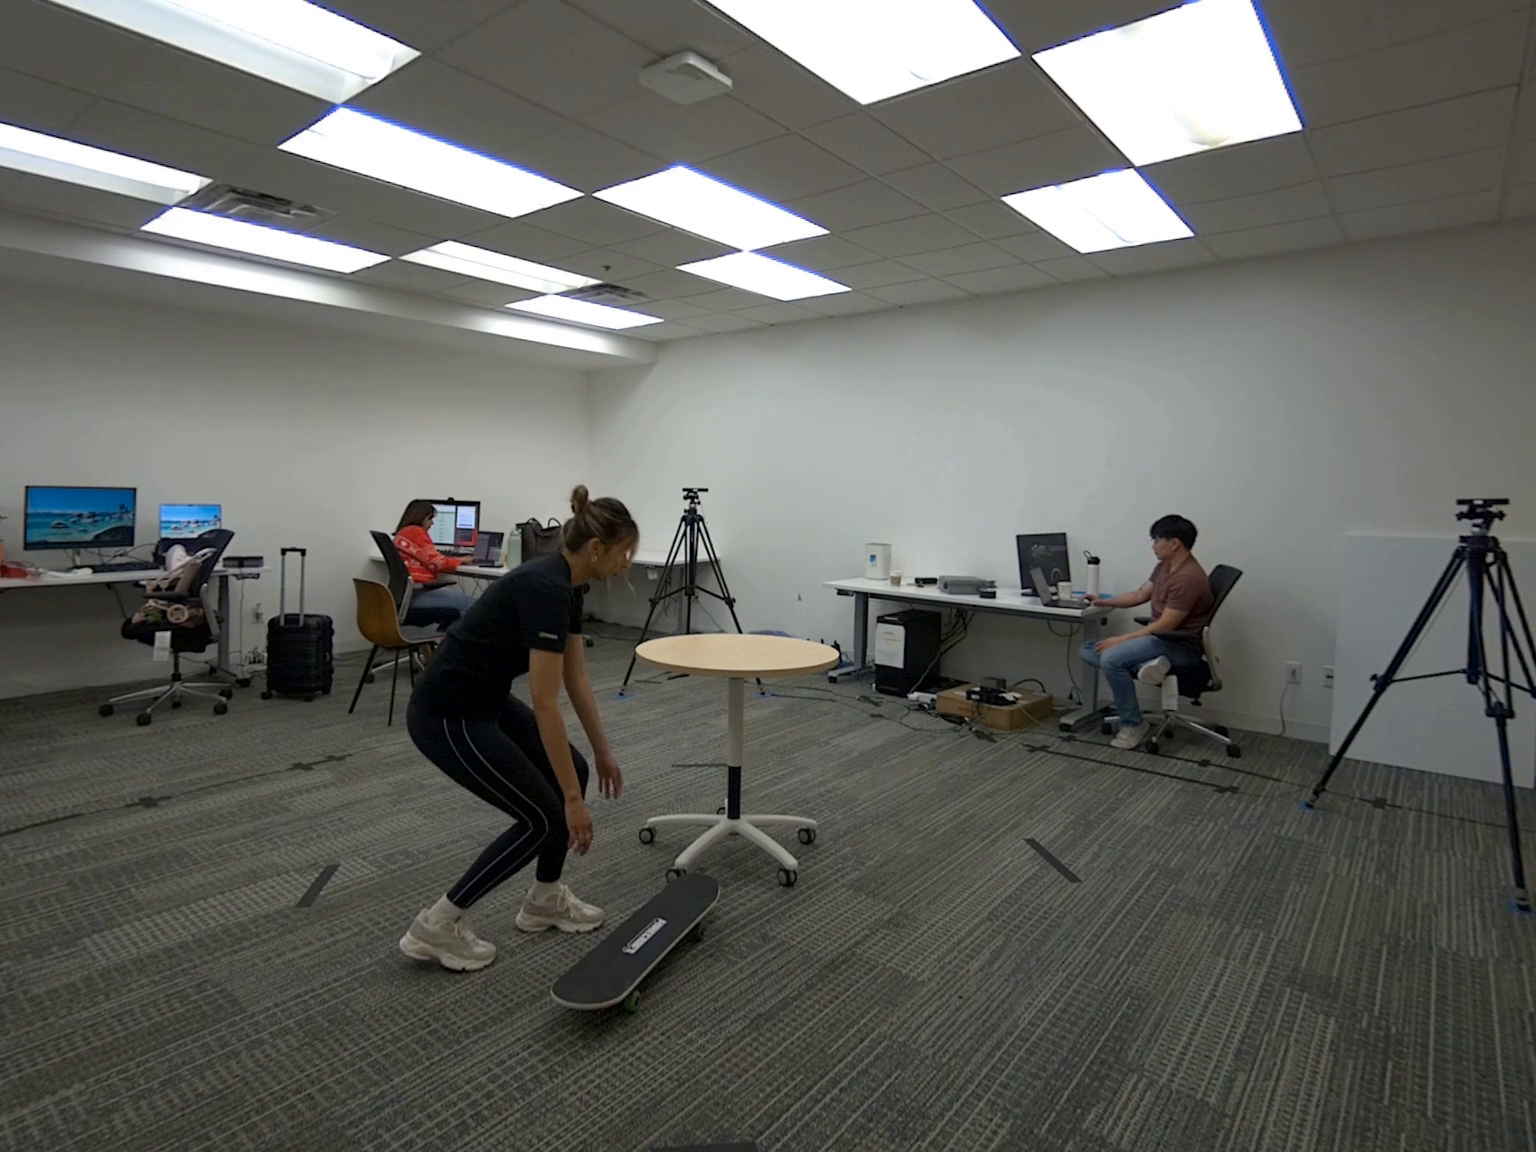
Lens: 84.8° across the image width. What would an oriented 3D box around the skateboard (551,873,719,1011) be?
[{"bbox_3d":[-0.367,1.078,2.468,0.198,0.110,0.770,2,6,22],"label":"skateboard"}]
